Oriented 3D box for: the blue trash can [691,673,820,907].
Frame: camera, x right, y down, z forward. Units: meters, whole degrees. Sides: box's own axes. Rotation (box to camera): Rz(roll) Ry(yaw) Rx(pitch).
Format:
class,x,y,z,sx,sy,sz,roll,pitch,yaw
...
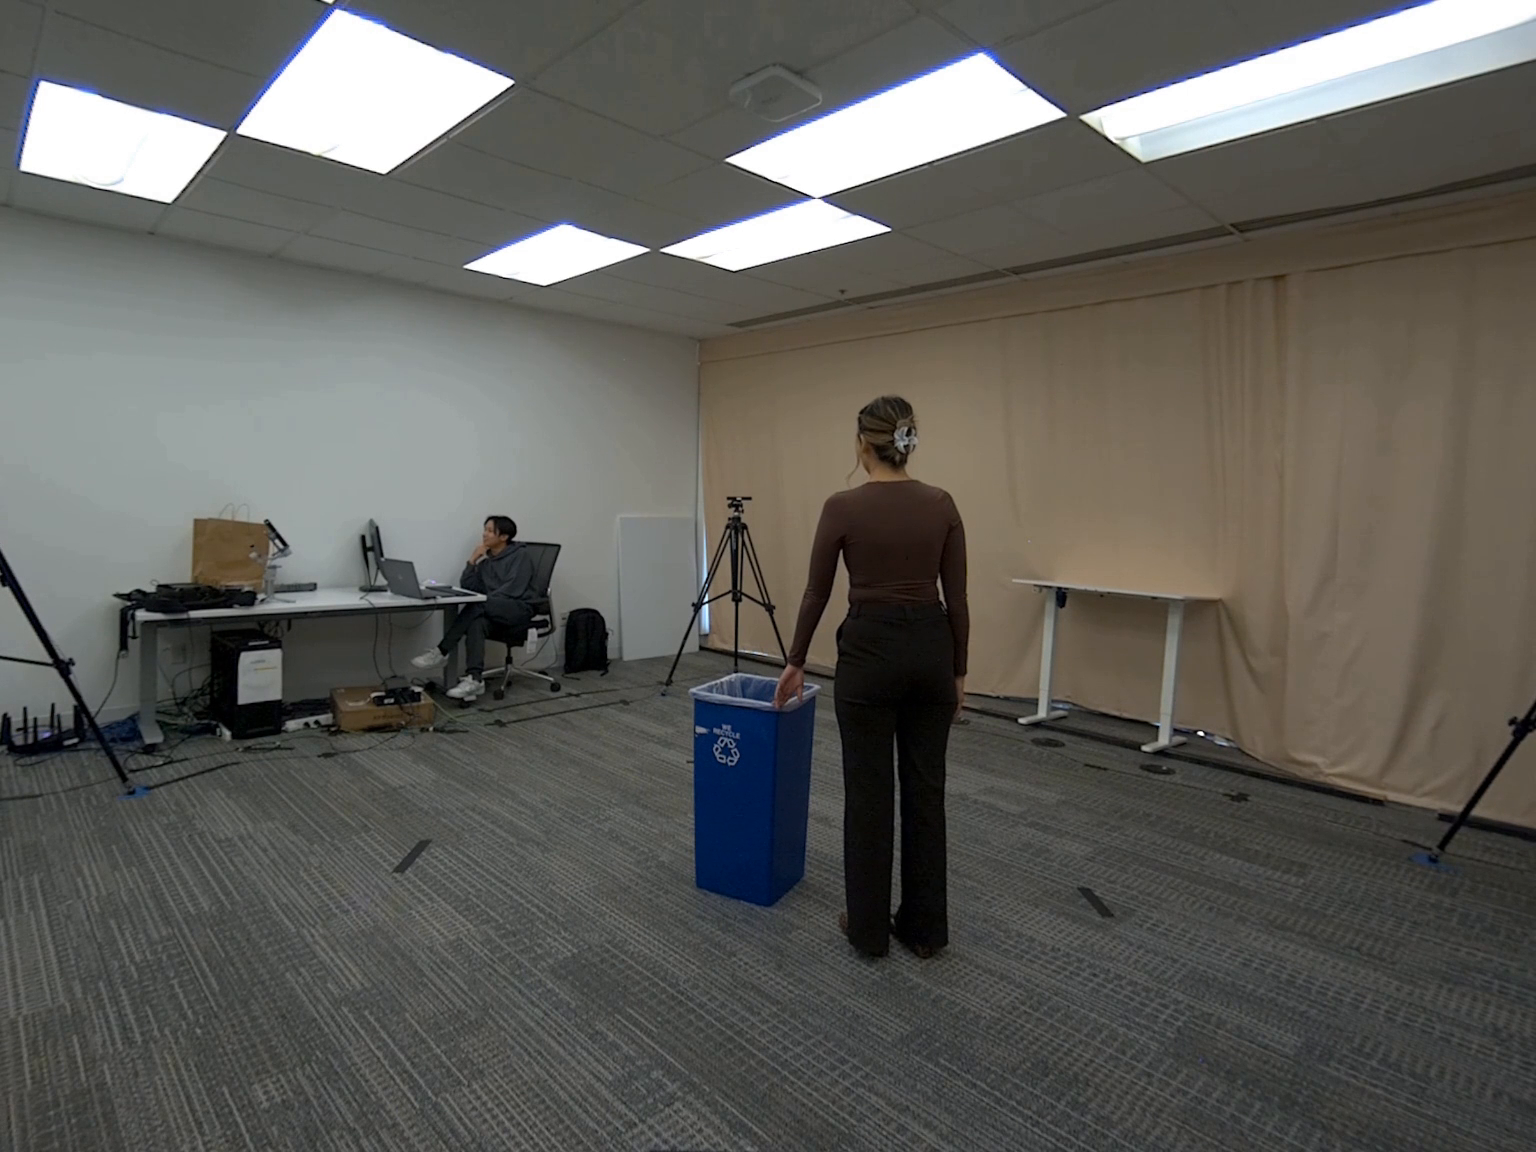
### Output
class,x,y,z,sx,sy,sz,roll,pitch,yaw
blue trash can,-0.054,0.755,3.044,0.382,0.712,0.371,3,4,28
